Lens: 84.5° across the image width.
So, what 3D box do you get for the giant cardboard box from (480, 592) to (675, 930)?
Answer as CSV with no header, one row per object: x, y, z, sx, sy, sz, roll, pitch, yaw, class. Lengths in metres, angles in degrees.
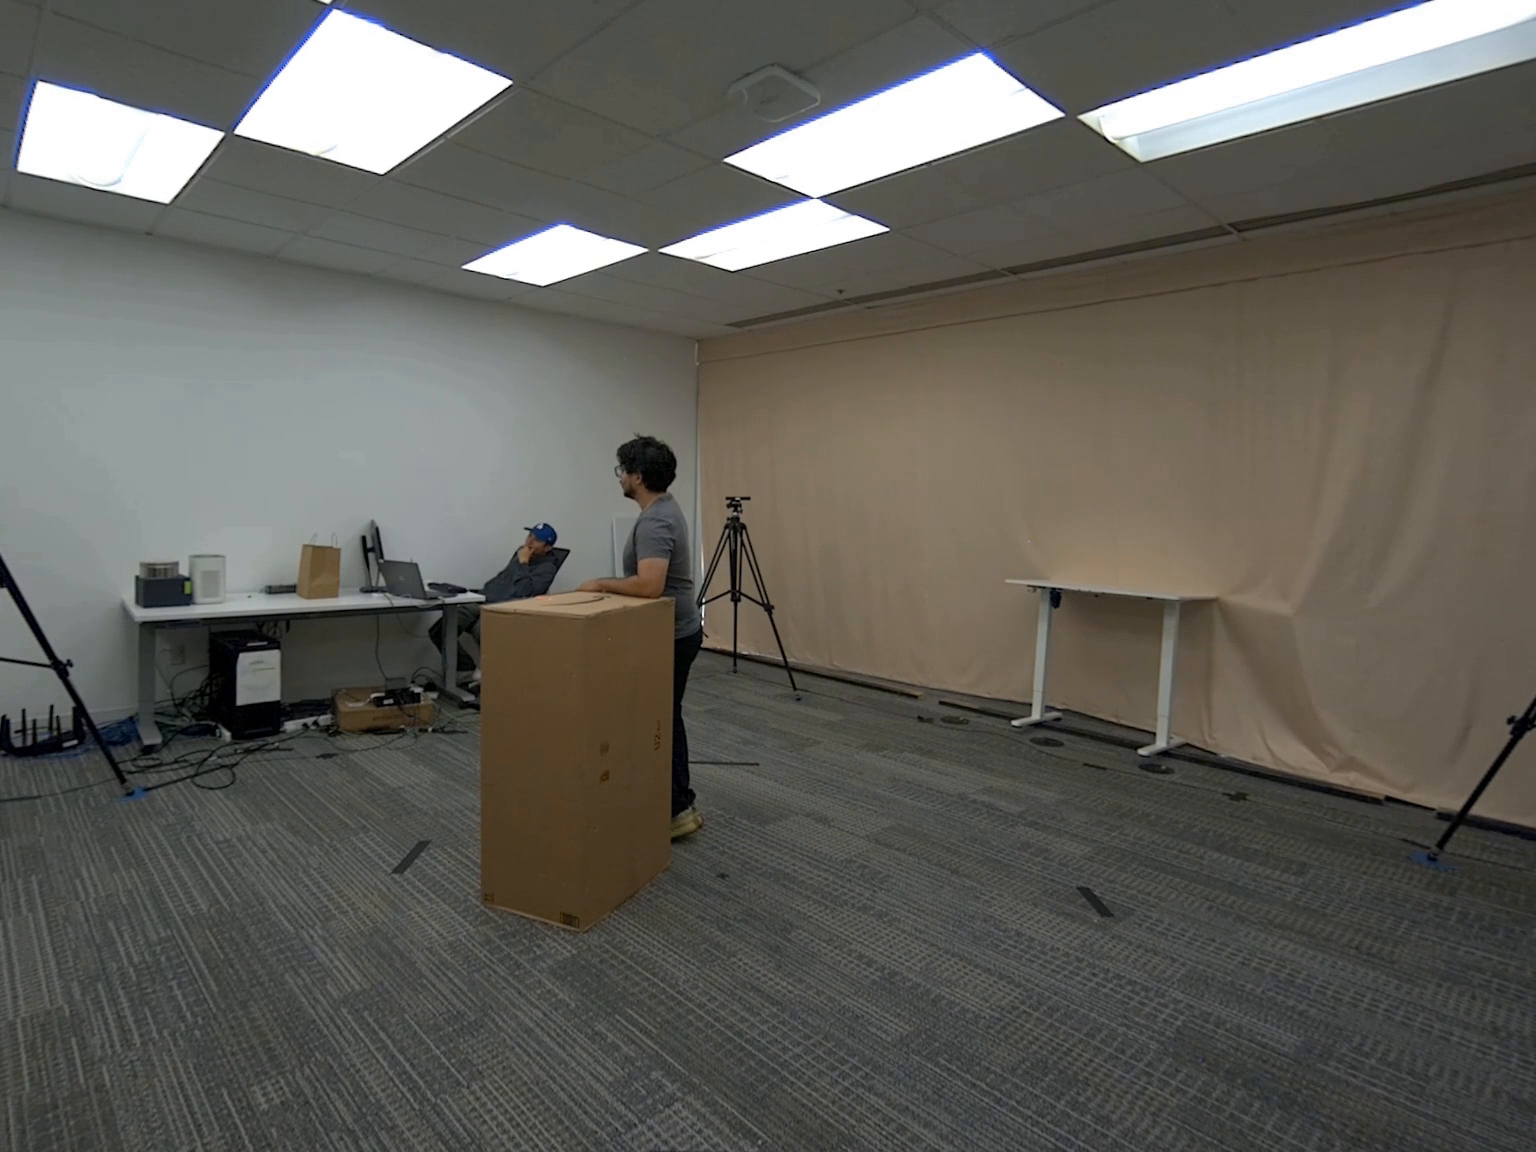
-0.675,0.598,2.983,0.434,1.023,0.568,3,4,25,giant cardboard box
